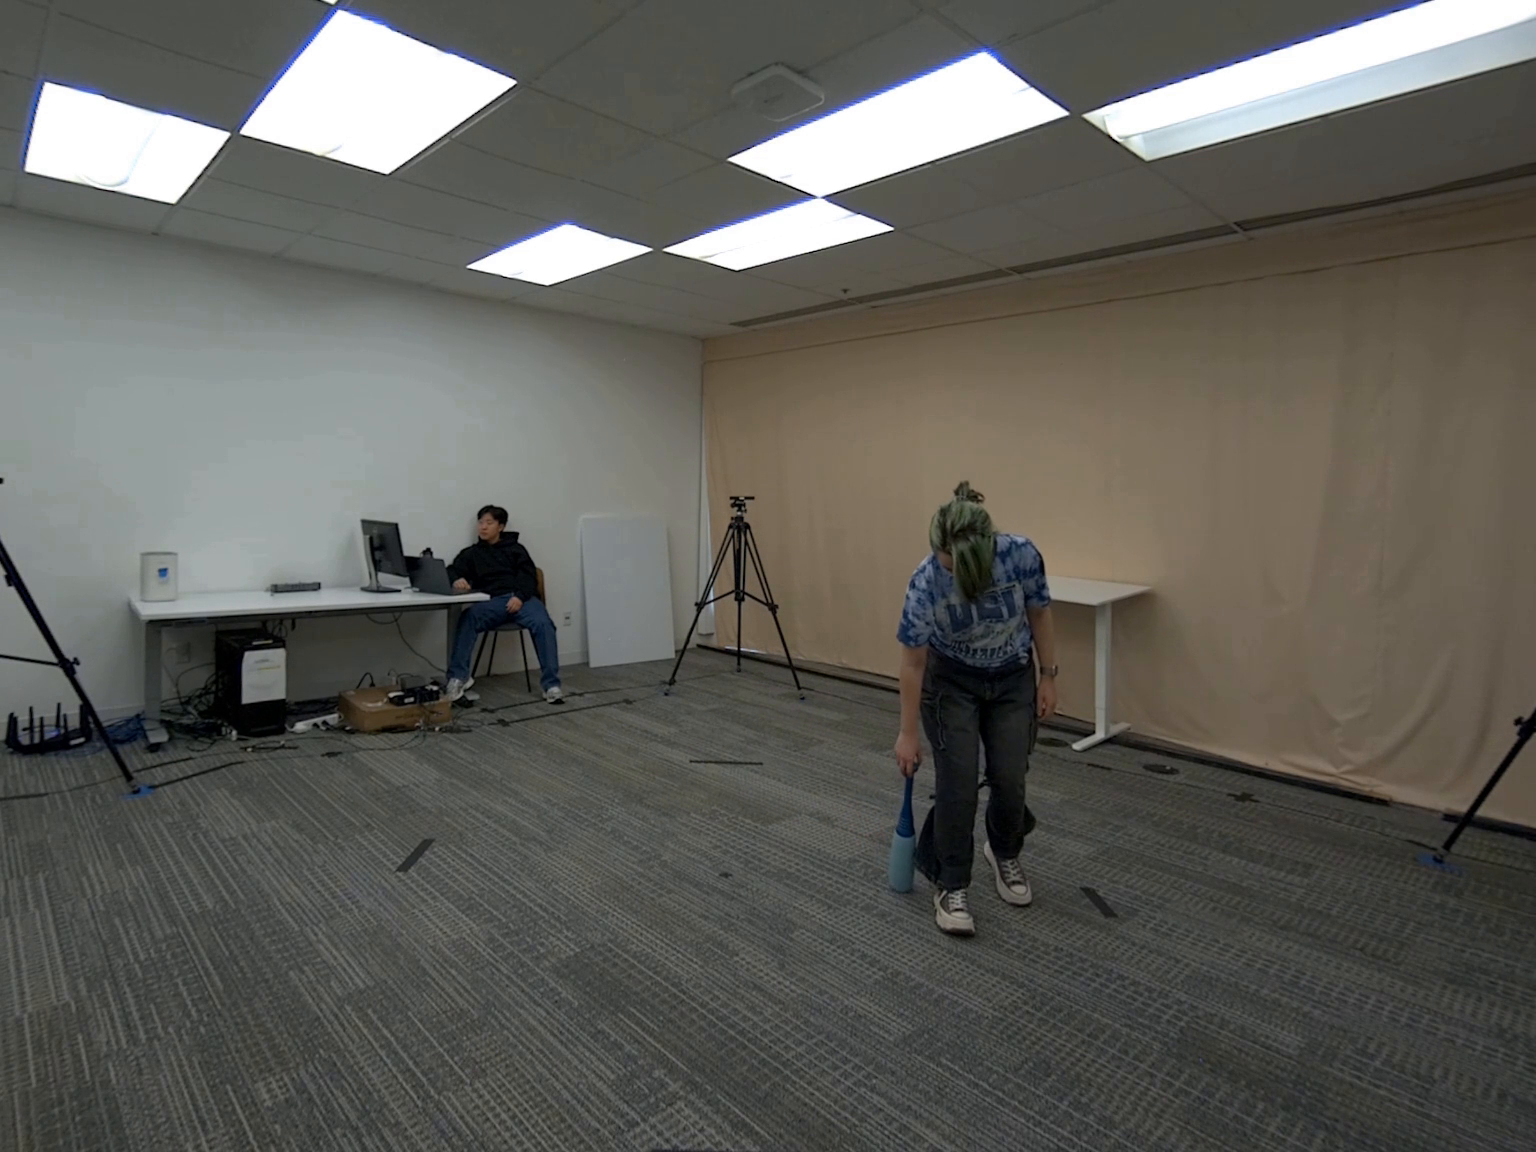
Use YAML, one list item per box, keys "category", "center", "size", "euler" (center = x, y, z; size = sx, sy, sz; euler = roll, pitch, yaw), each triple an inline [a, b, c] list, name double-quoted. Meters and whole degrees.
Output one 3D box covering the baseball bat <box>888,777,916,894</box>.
- category: "baseball bat"
  center: [0.476, 0.872, 2.931]
  size: [0.089, 0.534, 0.090]
  euler: [-1, 22, -1]
